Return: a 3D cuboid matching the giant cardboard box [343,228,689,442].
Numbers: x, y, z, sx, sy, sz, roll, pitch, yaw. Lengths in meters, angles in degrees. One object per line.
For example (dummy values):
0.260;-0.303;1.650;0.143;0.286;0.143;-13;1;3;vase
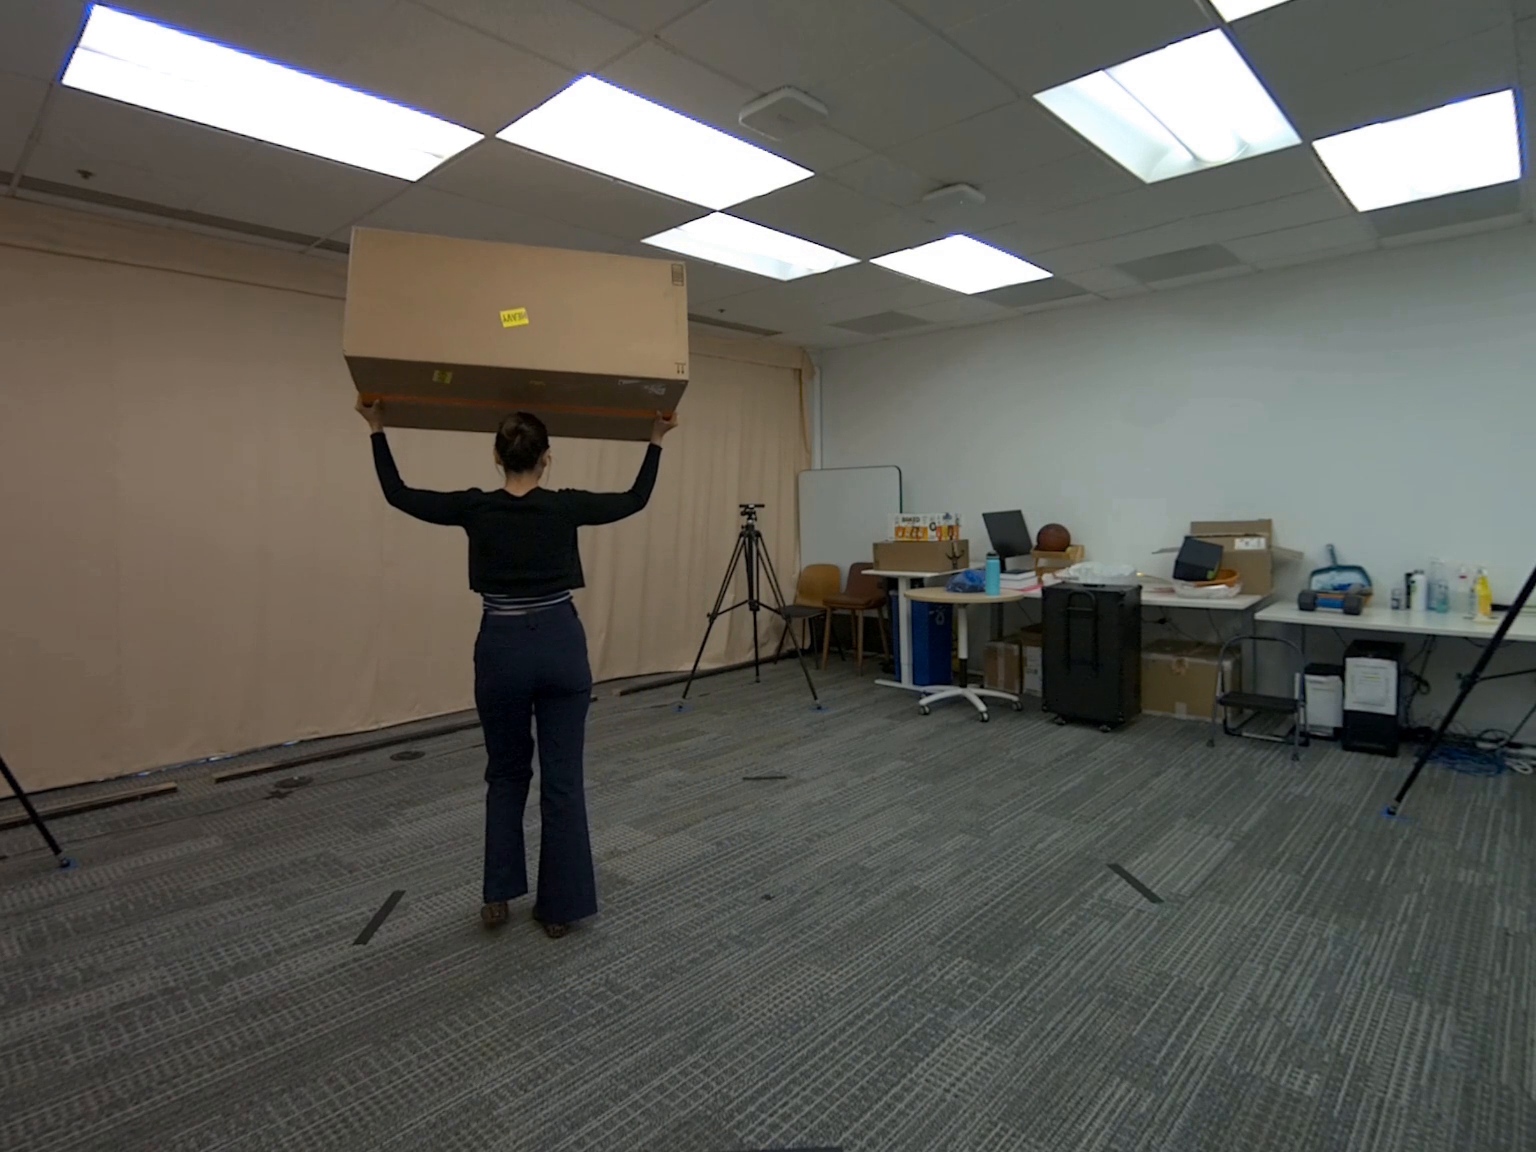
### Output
-0.826;-0.767;2.846;1.010;0.430;0.582;1;-12;-15;giant cardboard box
